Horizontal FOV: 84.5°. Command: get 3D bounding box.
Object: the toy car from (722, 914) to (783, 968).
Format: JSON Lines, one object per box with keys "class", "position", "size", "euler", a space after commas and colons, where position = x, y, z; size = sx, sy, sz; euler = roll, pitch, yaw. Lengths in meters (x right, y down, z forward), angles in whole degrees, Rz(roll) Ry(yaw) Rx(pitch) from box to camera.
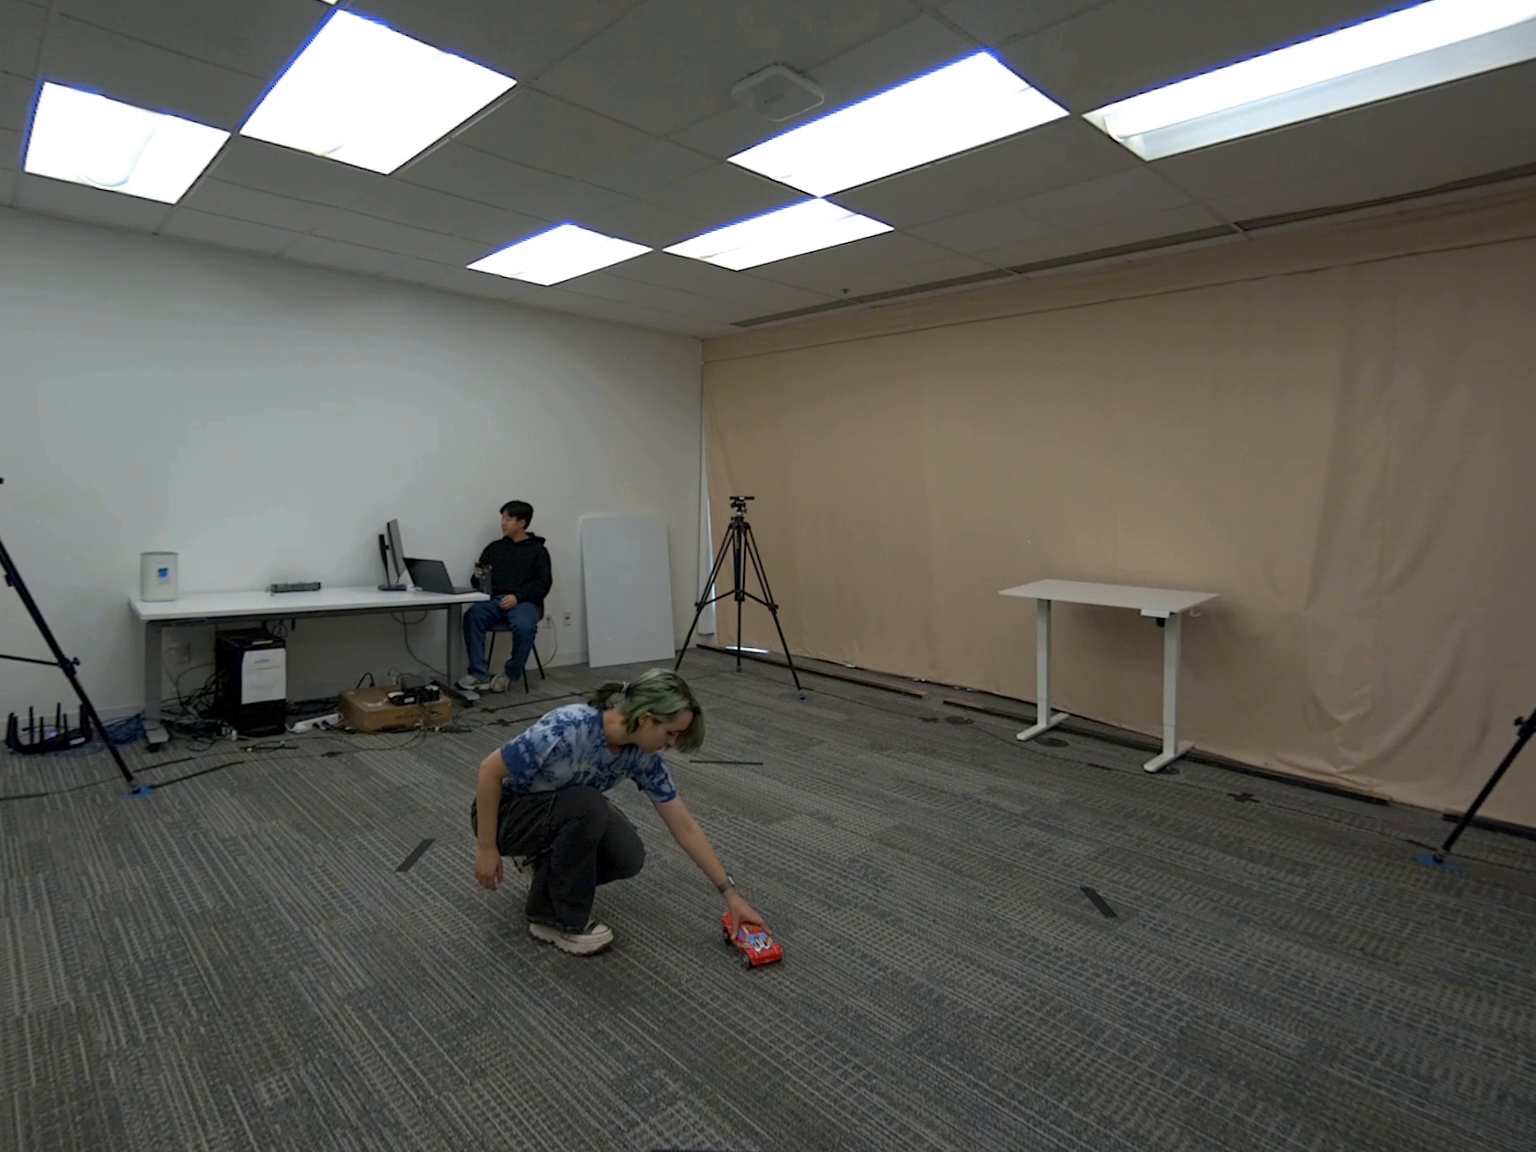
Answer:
{"class": "toy car", "position": [-0.069, 1.125, 2.596], "size": [0.128, 0.082, 0.261], "euler": [-2, 17, -26]}
